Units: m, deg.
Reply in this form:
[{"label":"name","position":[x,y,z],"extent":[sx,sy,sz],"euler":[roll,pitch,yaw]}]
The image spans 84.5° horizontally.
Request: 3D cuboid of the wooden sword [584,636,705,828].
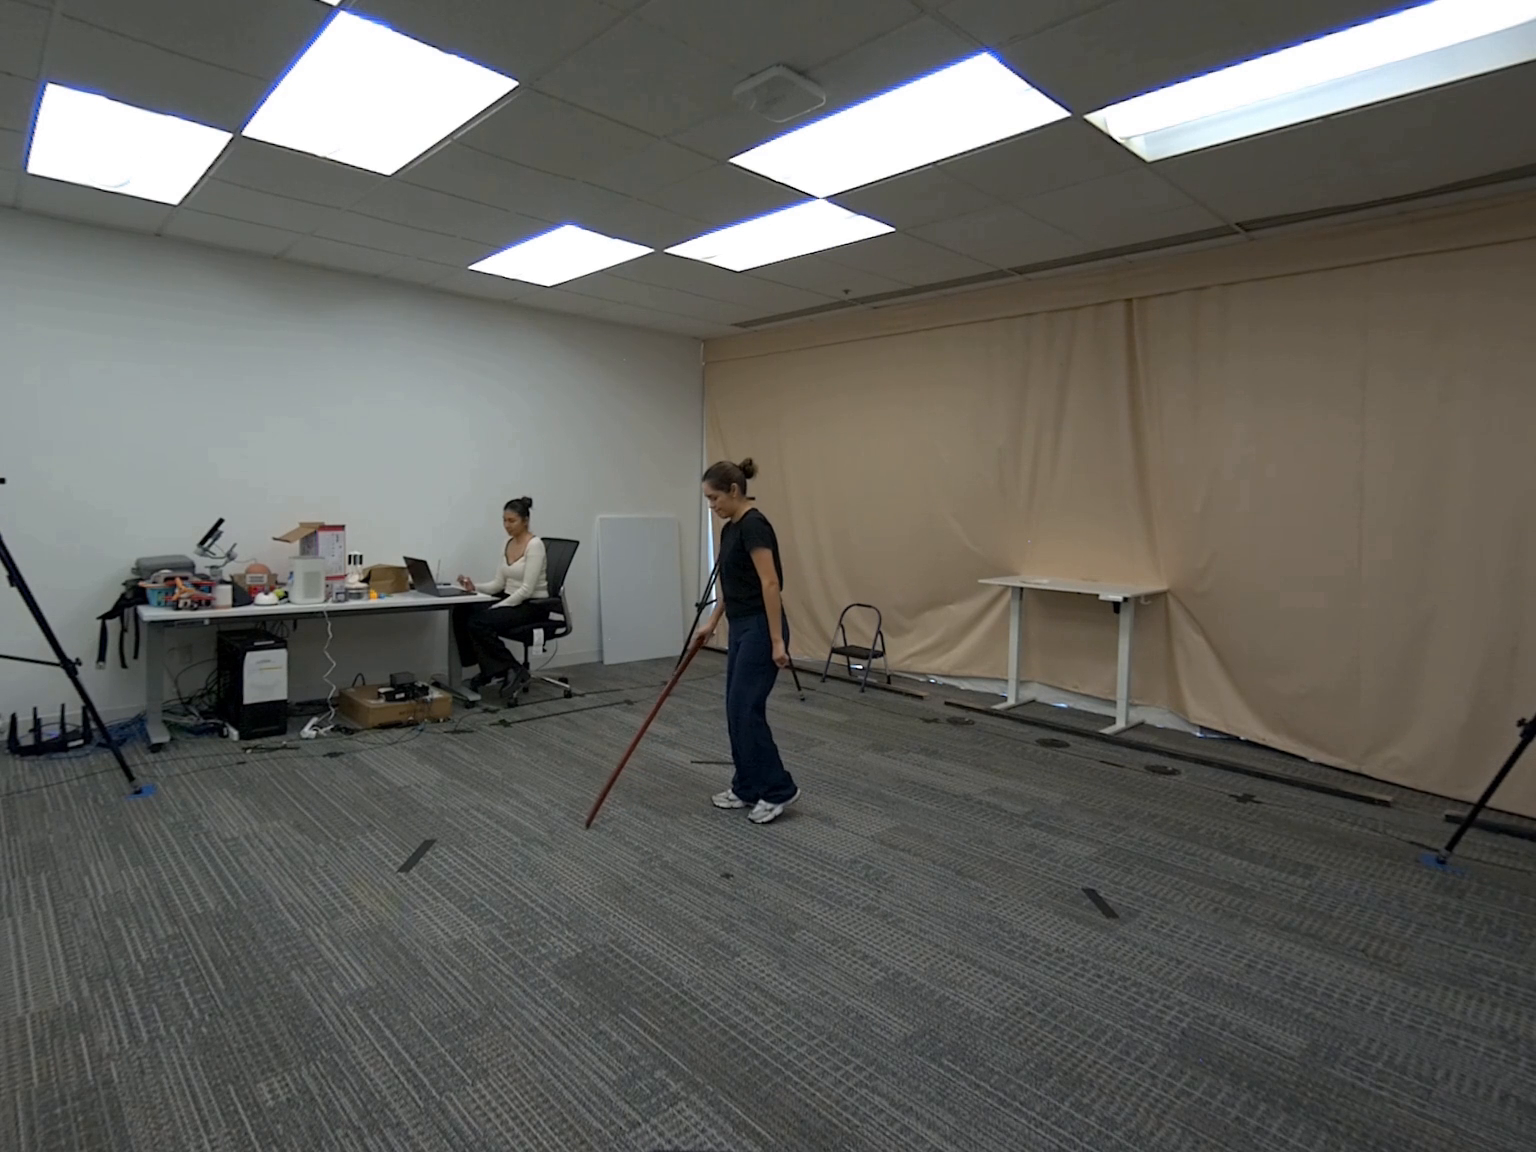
[{"label":"wooden sword","position":[-0.530,0.652,3.724],"extent":[0.051,1.030,0.024],"euler":[32,-27,-1]}]
